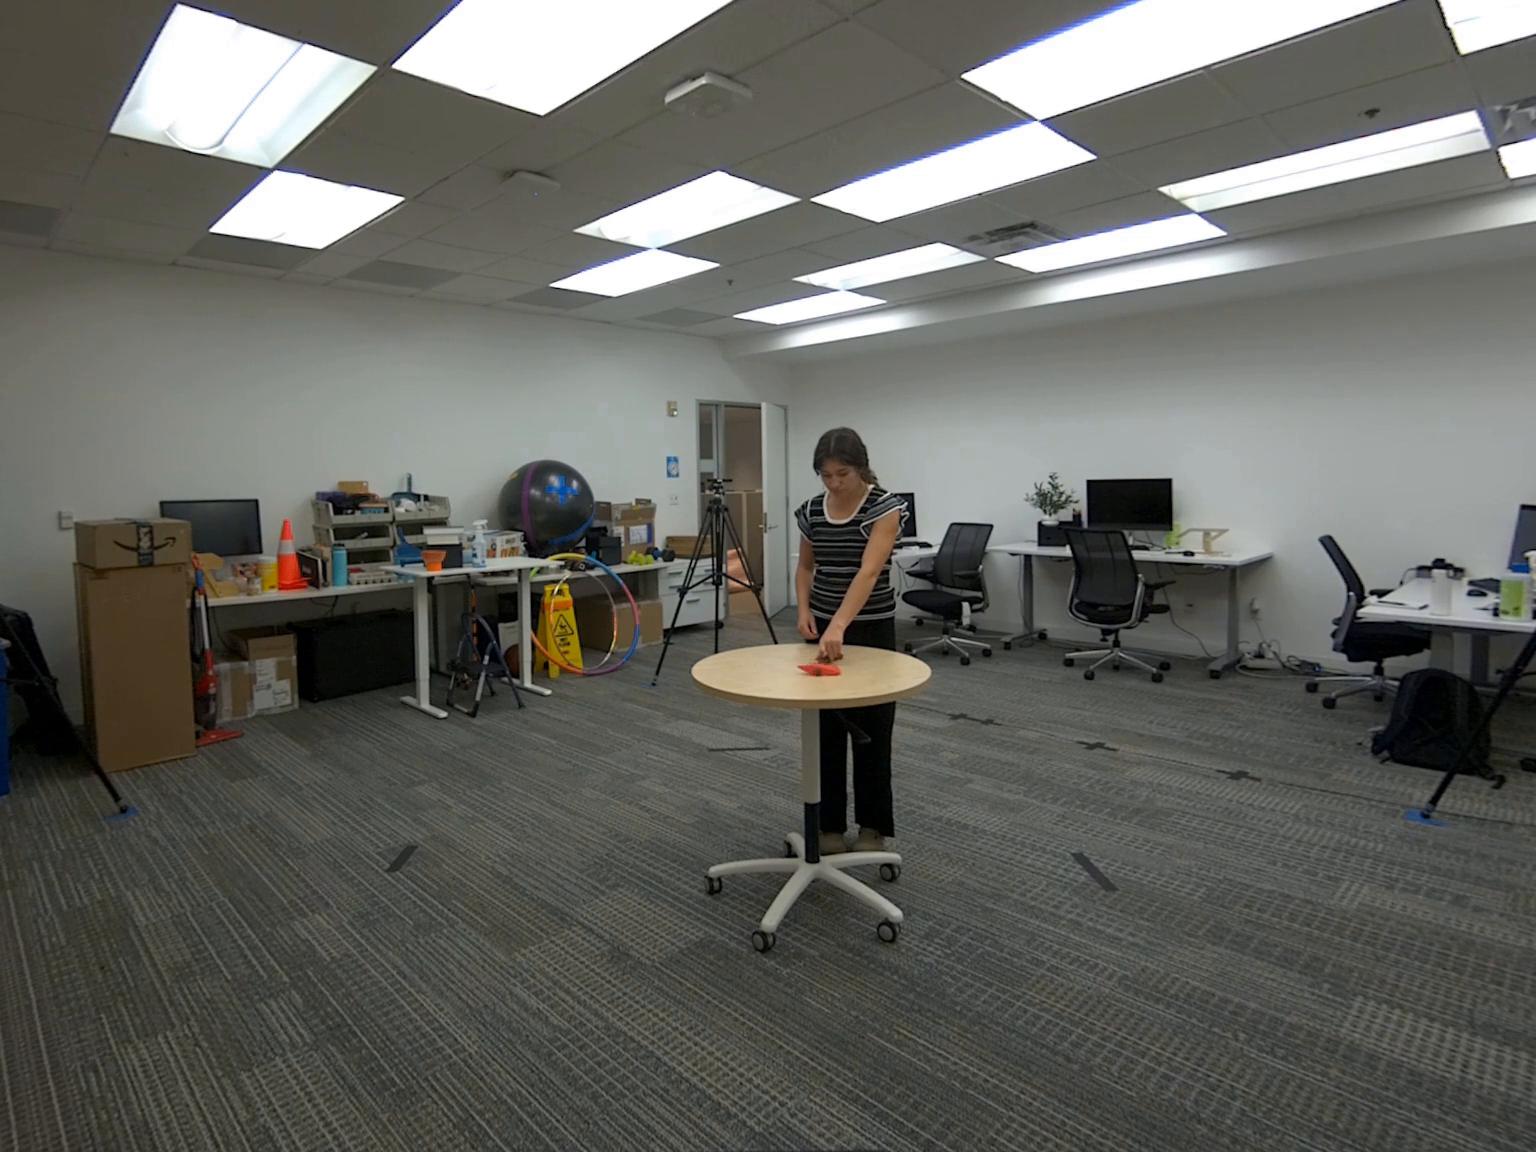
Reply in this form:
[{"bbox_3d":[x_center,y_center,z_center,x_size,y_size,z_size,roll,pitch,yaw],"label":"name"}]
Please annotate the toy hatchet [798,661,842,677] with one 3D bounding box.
[{"bbox_3d":[0.216,0.285,2.765,0.135,0.029,0.264,7,8,30],"label":"toy hatchet"}]
